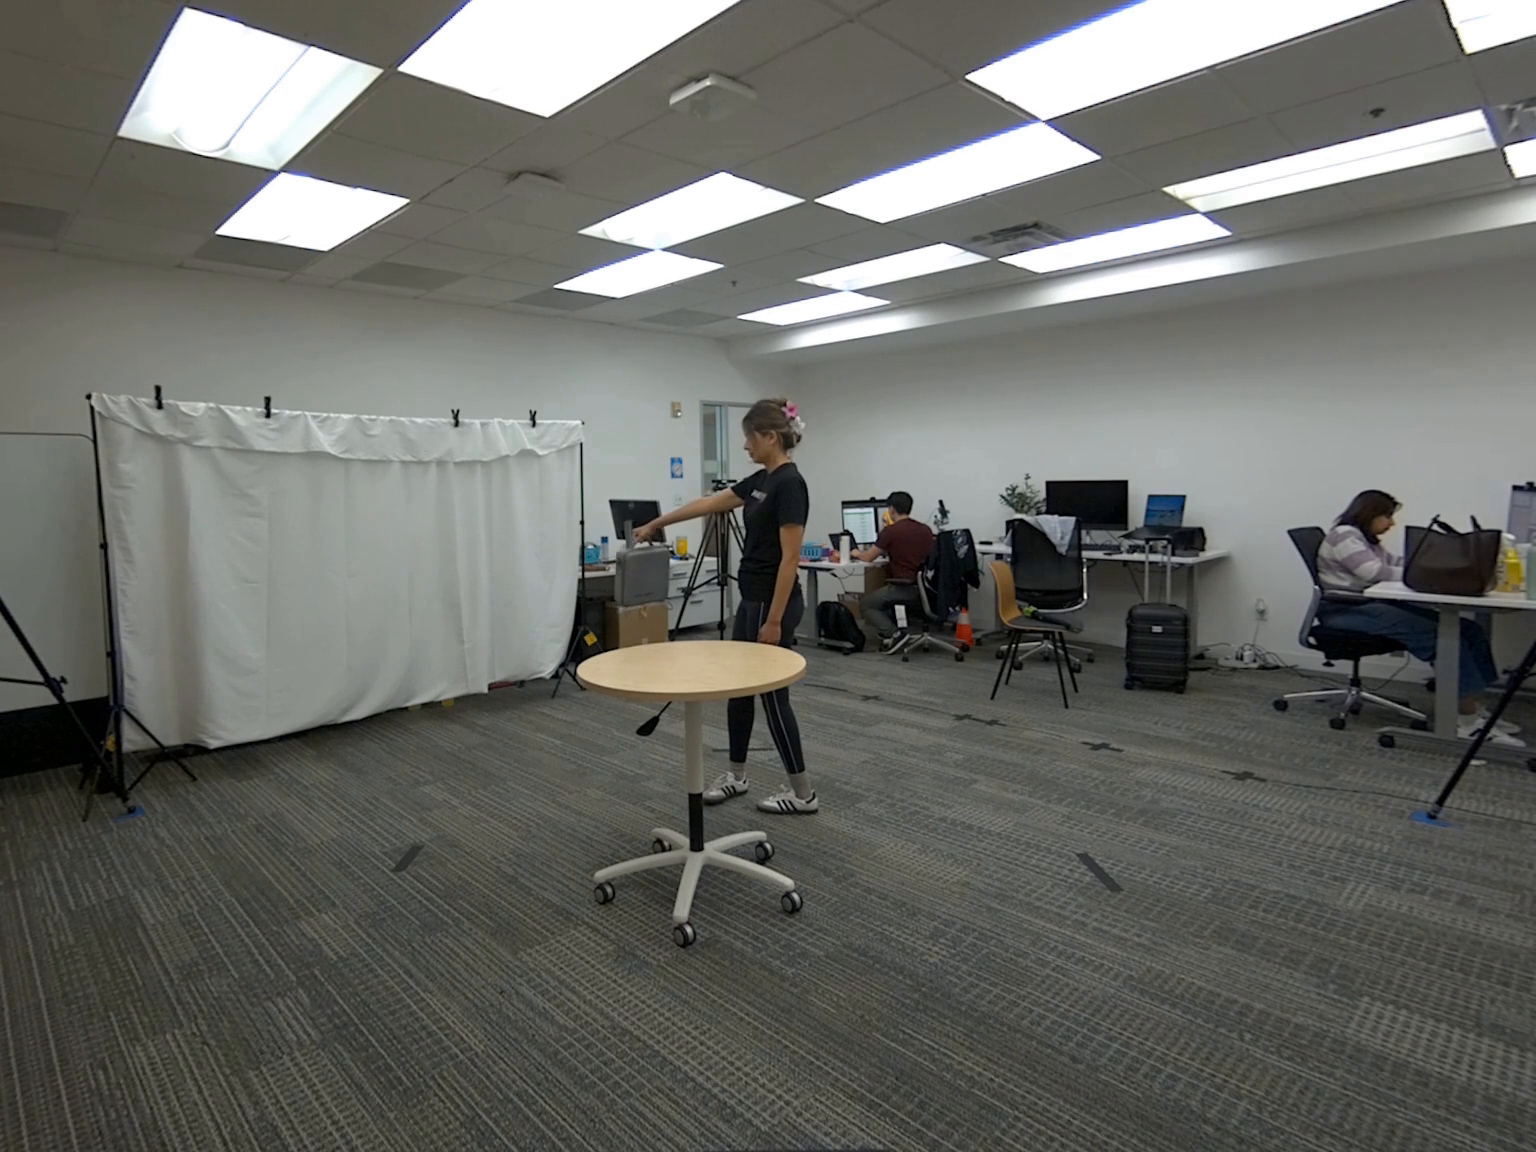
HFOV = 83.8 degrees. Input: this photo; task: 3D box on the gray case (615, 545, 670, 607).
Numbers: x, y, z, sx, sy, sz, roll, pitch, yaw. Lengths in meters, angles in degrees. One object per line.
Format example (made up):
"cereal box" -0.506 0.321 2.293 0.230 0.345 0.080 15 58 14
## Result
"gray case" -0.563 -0.011 3.856 0.250 0.258 0.108 -8 15 -40
